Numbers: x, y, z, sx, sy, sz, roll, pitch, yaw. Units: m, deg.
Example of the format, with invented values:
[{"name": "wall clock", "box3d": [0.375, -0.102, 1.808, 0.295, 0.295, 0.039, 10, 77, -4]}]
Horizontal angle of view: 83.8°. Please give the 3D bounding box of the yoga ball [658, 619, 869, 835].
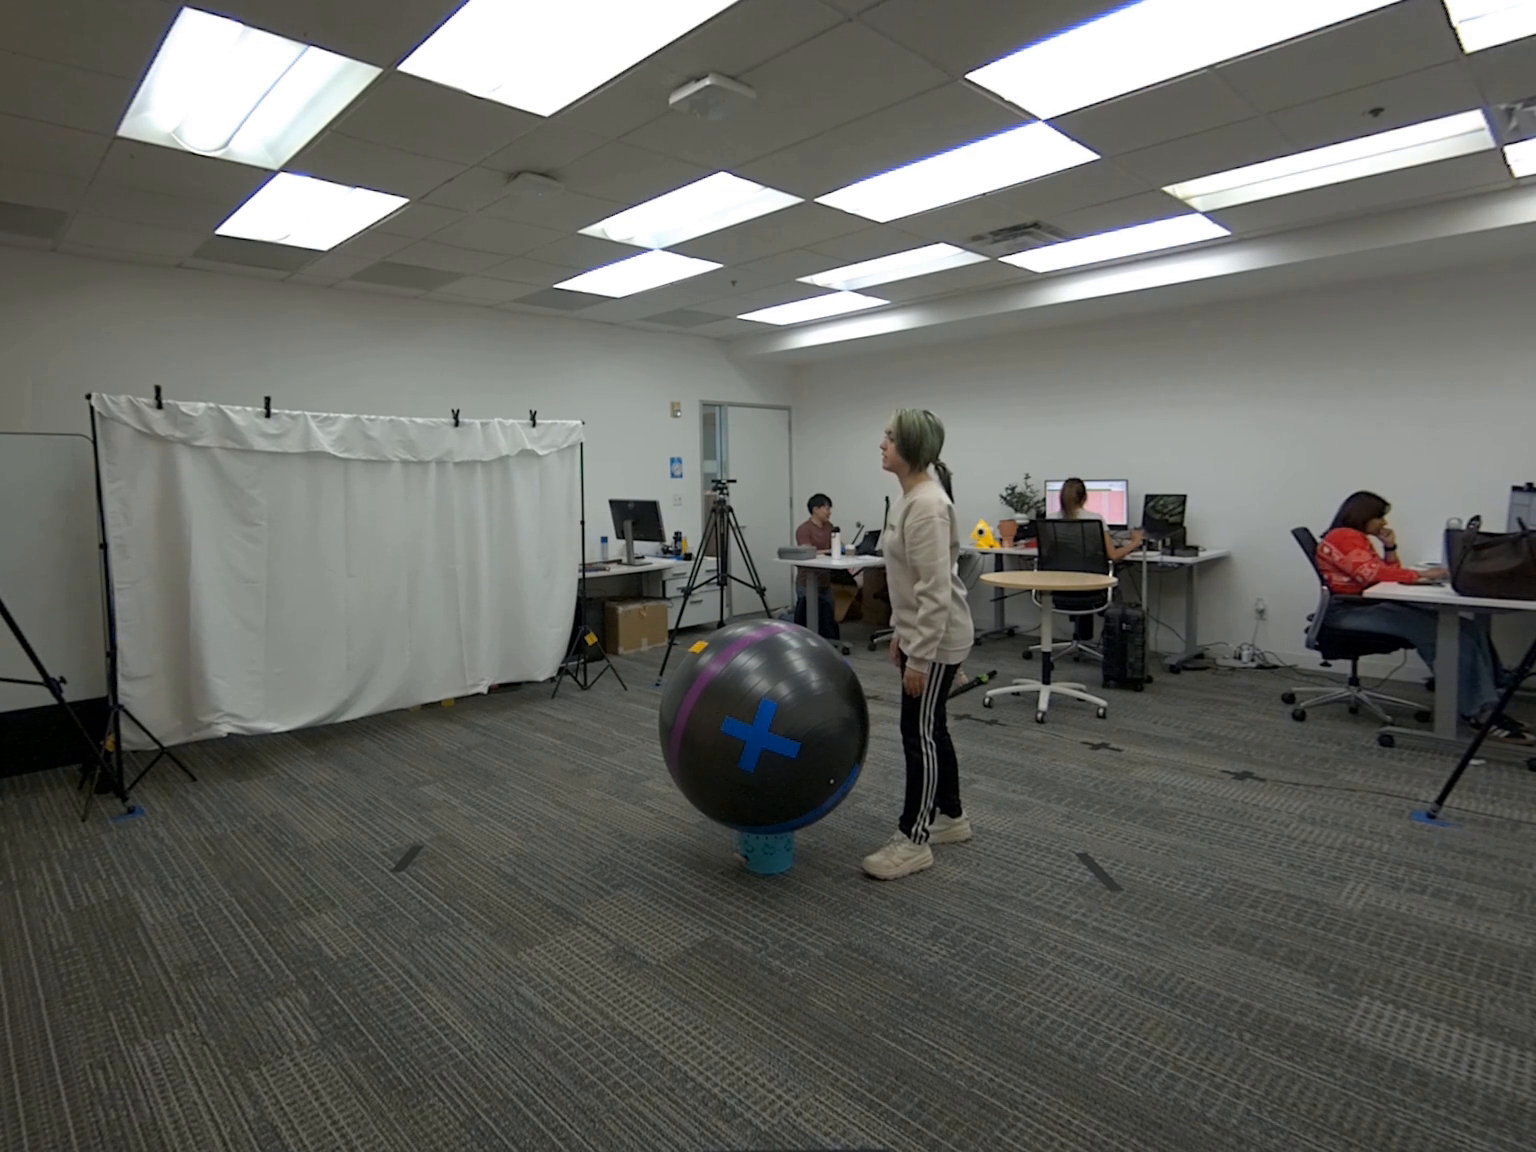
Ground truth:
[{"name": "yoga ball", "box3d": [-0.015, 0.534, 3.089, 0.757, 0.755, 0.762, -1, 5, -2]}]
